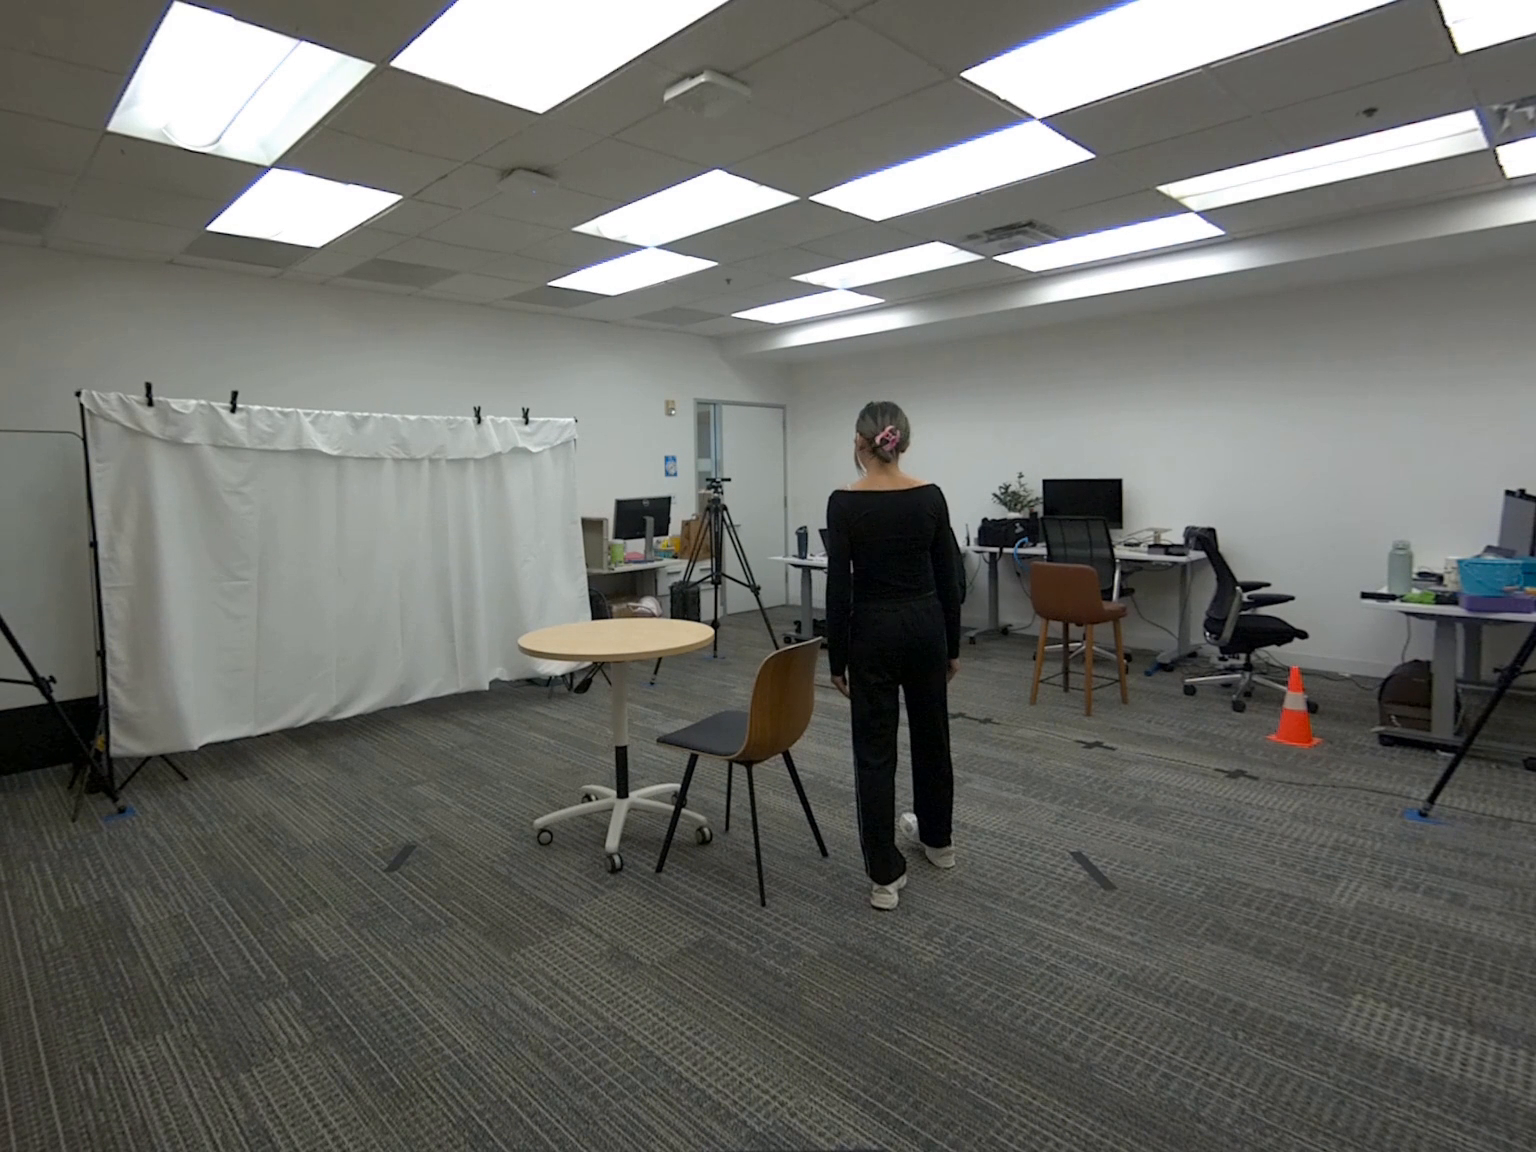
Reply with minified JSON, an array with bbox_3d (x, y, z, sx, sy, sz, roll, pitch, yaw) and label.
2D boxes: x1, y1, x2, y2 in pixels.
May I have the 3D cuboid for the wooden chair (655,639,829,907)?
[{"bbox_3d":[-0.096,0.618,3.062,0.539,0.872,0.466,8,8,33],"label":"wooden chair"}]
